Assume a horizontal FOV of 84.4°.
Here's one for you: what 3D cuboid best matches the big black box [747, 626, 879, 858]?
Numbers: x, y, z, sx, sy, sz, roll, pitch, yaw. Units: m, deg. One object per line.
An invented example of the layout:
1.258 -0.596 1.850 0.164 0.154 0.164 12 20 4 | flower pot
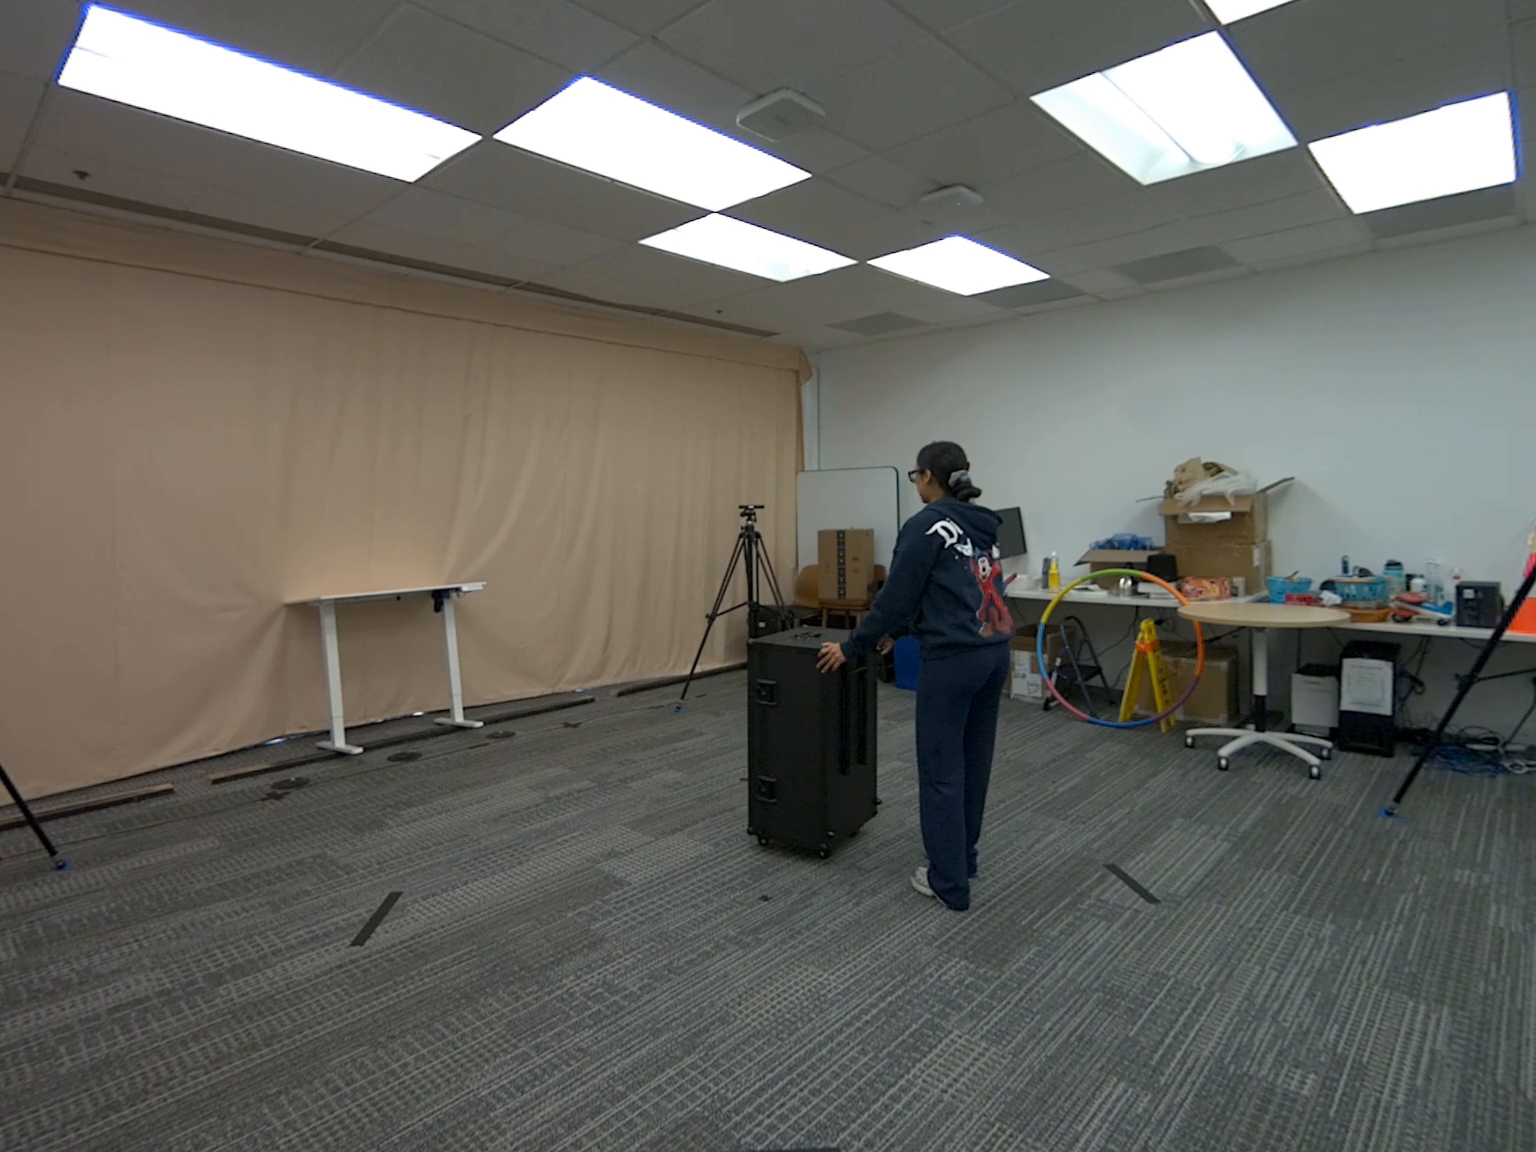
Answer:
0.204 0.672 3.463 0.409 0.859 0.506 4 5 33 | big black box
